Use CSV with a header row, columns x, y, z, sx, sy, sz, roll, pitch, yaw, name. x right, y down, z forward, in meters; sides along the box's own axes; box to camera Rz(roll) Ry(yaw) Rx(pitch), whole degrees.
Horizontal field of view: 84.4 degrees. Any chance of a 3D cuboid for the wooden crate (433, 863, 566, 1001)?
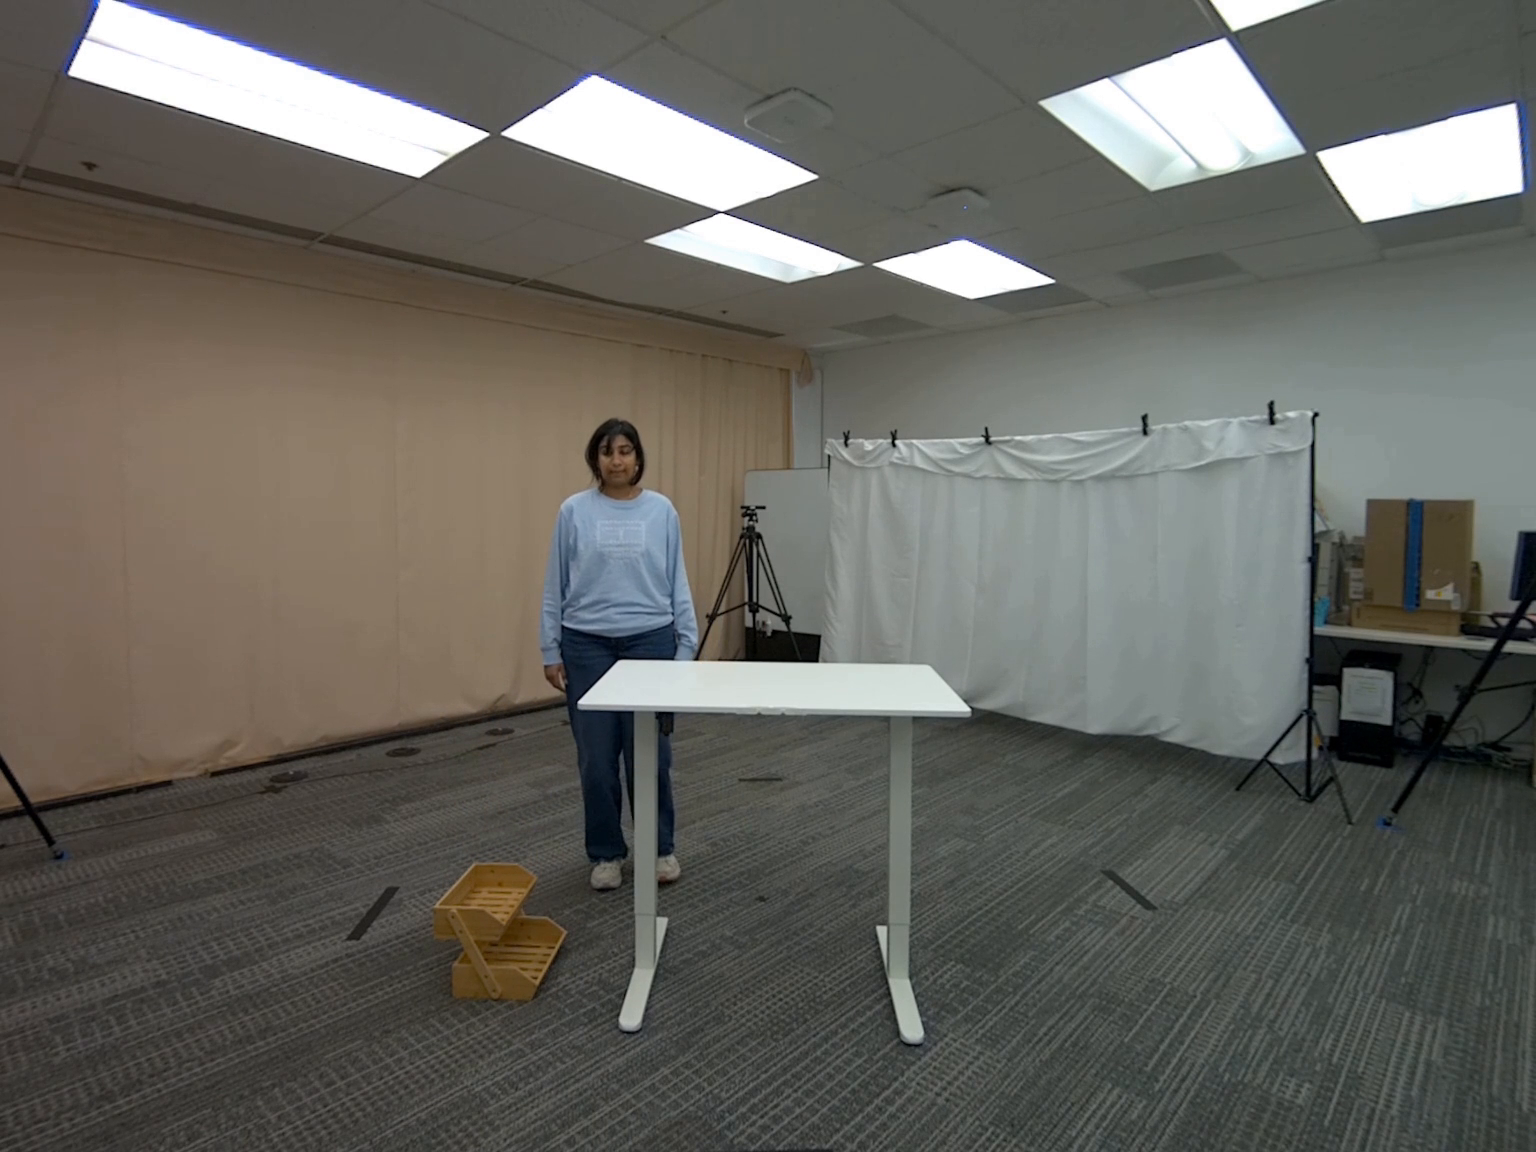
x,y,z,sx,sy,sz,roll,pitch,yaw,name
-0.791,1.053,2.525,0.303,0.273,0.324,-1,3,3,wooden crate
